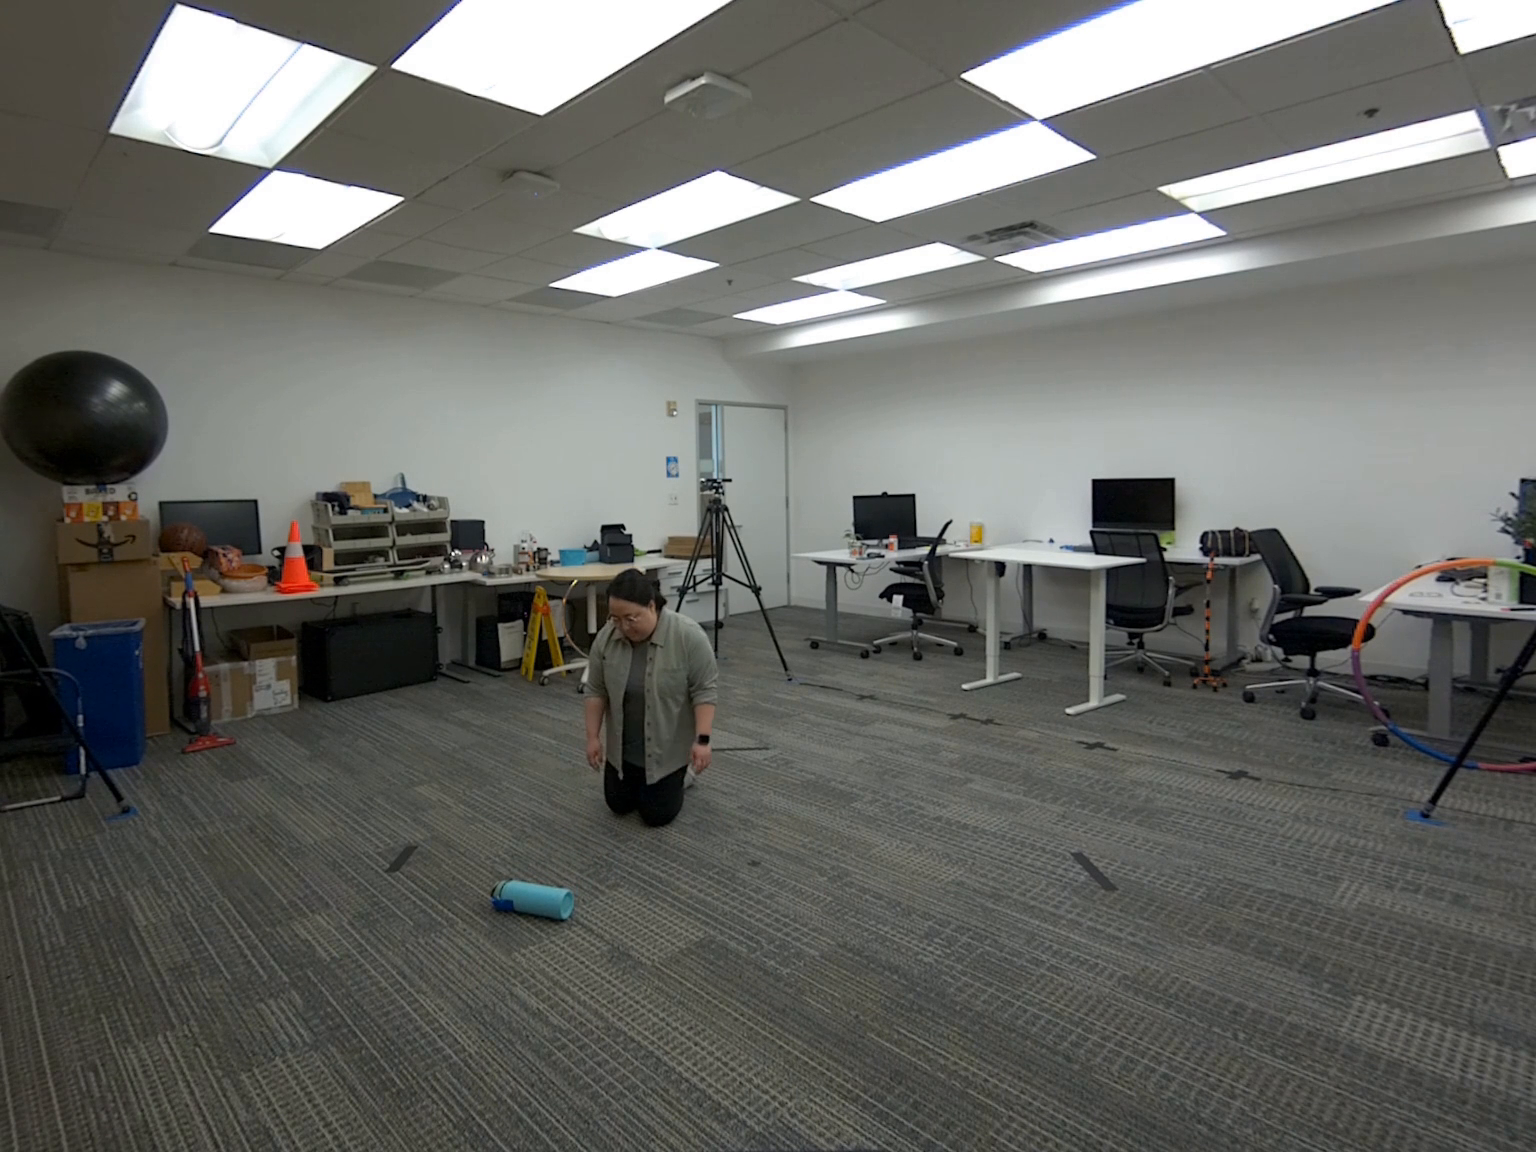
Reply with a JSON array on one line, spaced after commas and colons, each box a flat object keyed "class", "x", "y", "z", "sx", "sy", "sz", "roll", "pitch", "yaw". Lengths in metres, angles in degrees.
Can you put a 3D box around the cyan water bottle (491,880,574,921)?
[{"class": "cyan water bottle", "x": -0.777, "y": 1.054, "z": 2.784, "sx": 0.289, "sy": 0.092, "sz": 0.091, "roll": 1, "pitch": 5, "yaw": 19}]
